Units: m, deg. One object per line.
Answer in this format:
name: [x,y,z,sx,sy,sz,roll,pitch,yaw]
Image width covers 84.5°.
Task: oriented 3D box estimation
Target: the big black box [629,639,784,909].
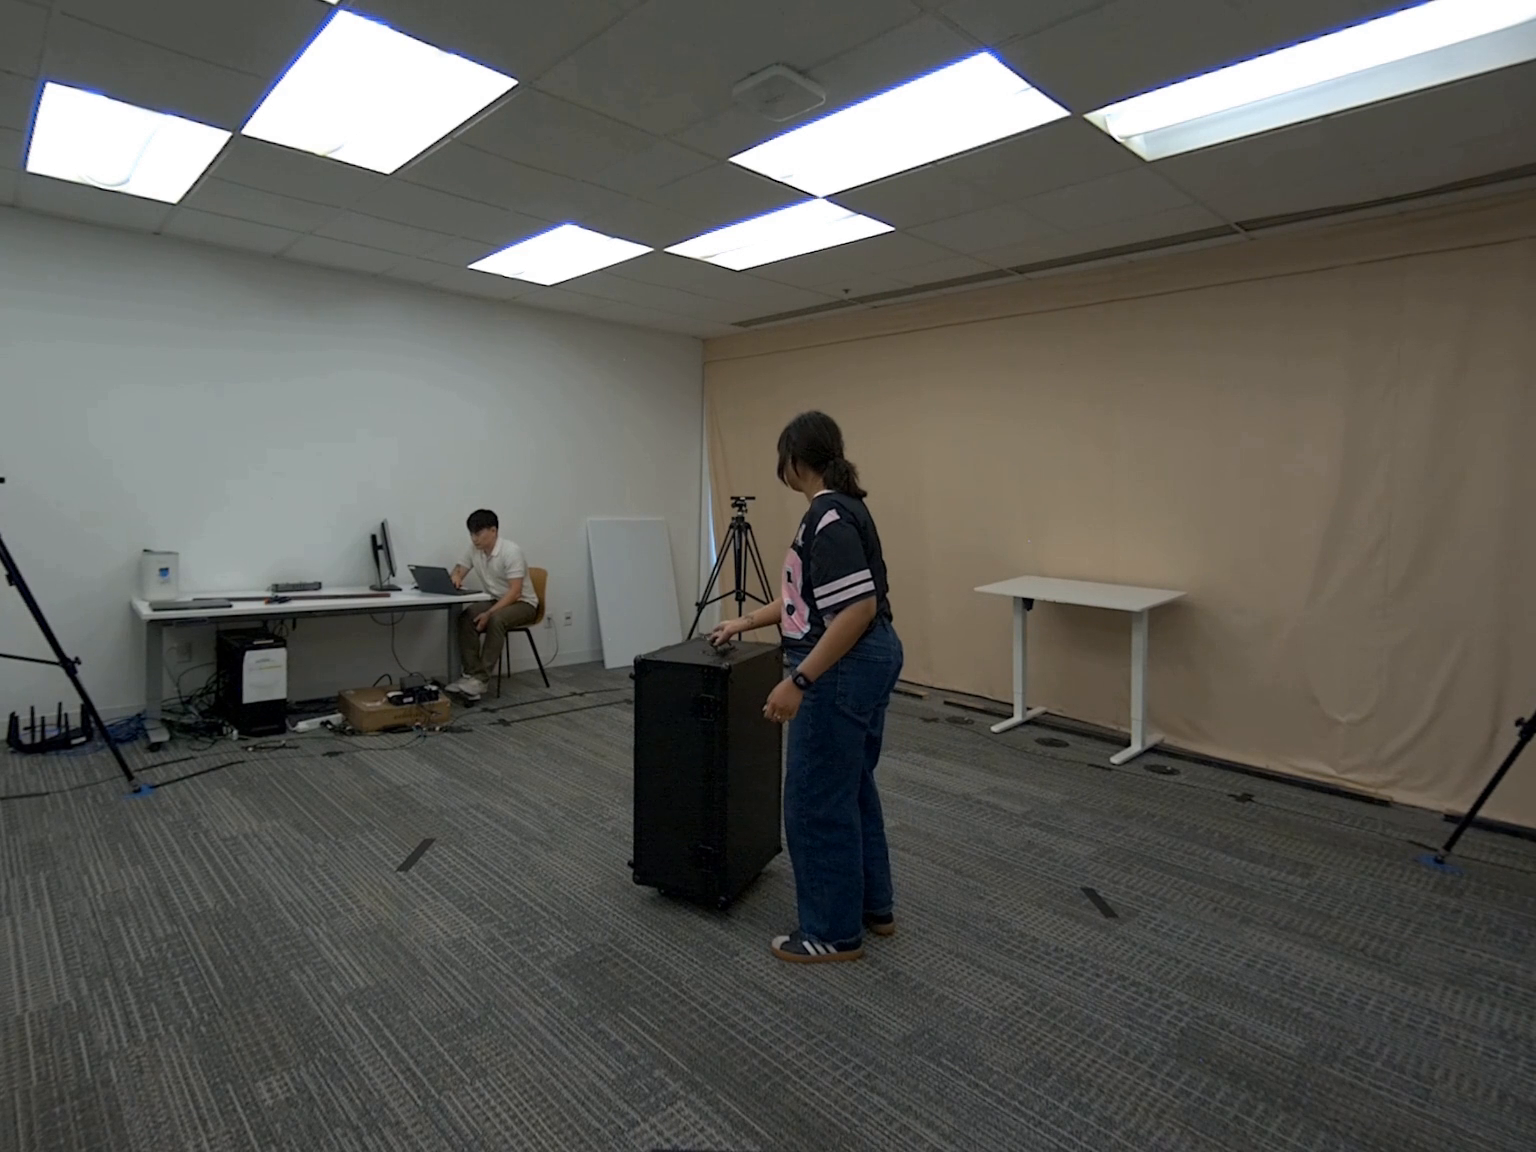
big black box: [-0.218,0.691,2.998,0.404,0.859,0.513,2,4,24]
